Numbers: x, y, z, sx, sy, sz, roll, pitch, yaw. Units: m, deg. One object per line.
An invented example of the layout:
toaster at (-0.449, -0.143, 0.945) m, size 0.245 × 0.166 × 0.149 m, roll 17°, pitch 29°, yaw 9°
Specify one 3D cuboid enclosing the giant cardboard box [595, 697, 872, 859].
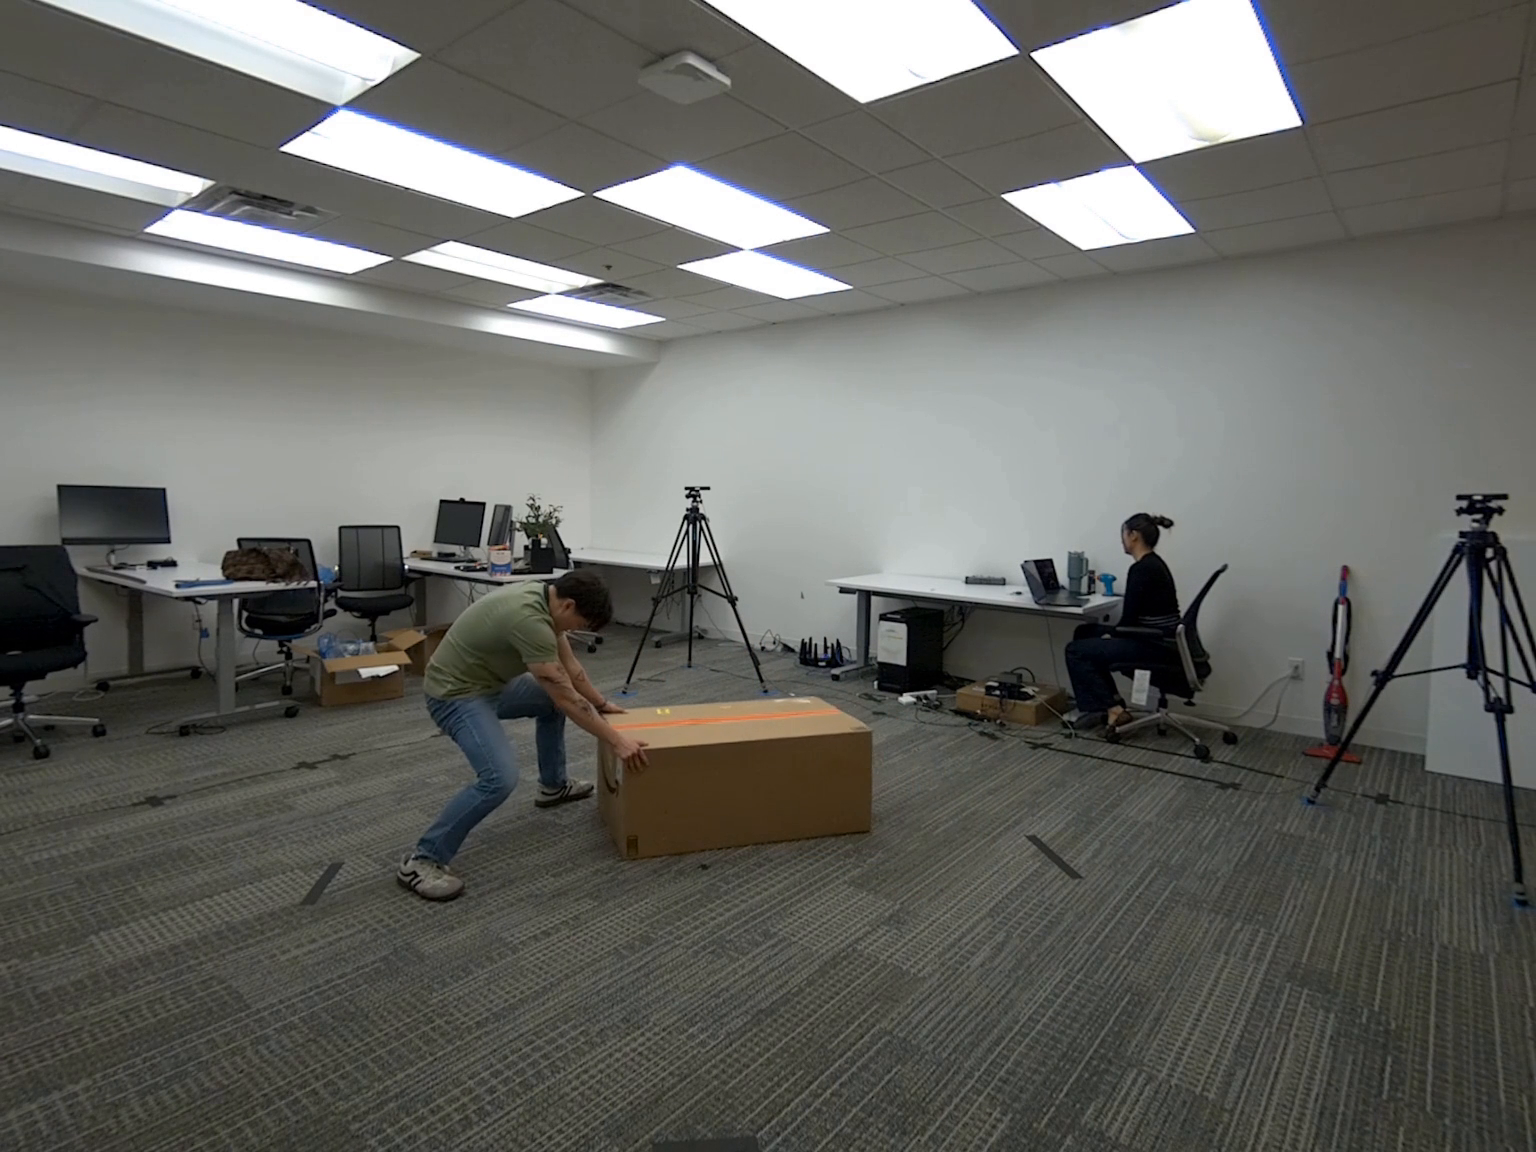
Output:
giant cardboard box at (-0.165, 0.809, 3.562) m, size 1.007 × 0.425 × 0.590 m, roll -1°, pitch 4°, yaw -19°
